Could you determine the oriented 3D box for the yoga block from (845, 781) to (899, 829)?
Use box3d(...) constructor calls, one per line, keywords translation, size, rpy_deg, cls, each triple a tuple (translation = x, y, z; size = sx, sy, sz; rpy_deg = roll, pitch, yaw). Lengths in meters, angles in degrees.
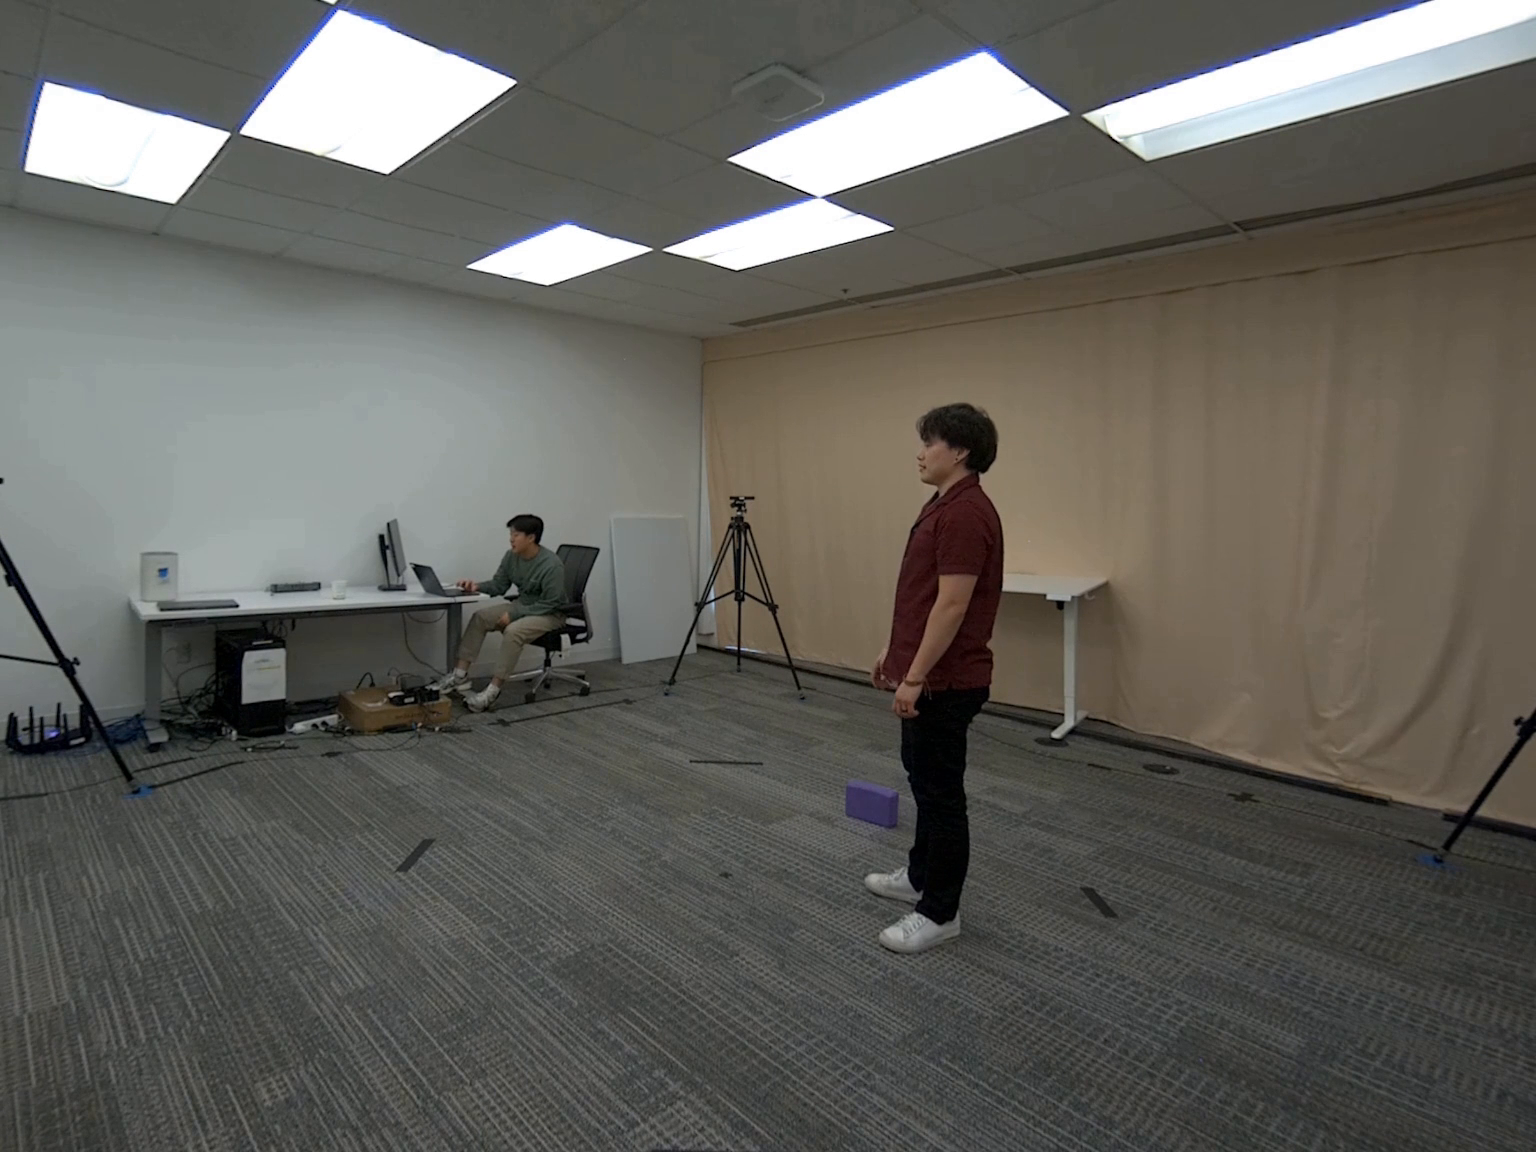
box3d(translation=(0.442, 0.992, 3.686), size=(0.235, 0.148, 0.075), rpy_deg=(5, 6, 39), cls="yoga block")
